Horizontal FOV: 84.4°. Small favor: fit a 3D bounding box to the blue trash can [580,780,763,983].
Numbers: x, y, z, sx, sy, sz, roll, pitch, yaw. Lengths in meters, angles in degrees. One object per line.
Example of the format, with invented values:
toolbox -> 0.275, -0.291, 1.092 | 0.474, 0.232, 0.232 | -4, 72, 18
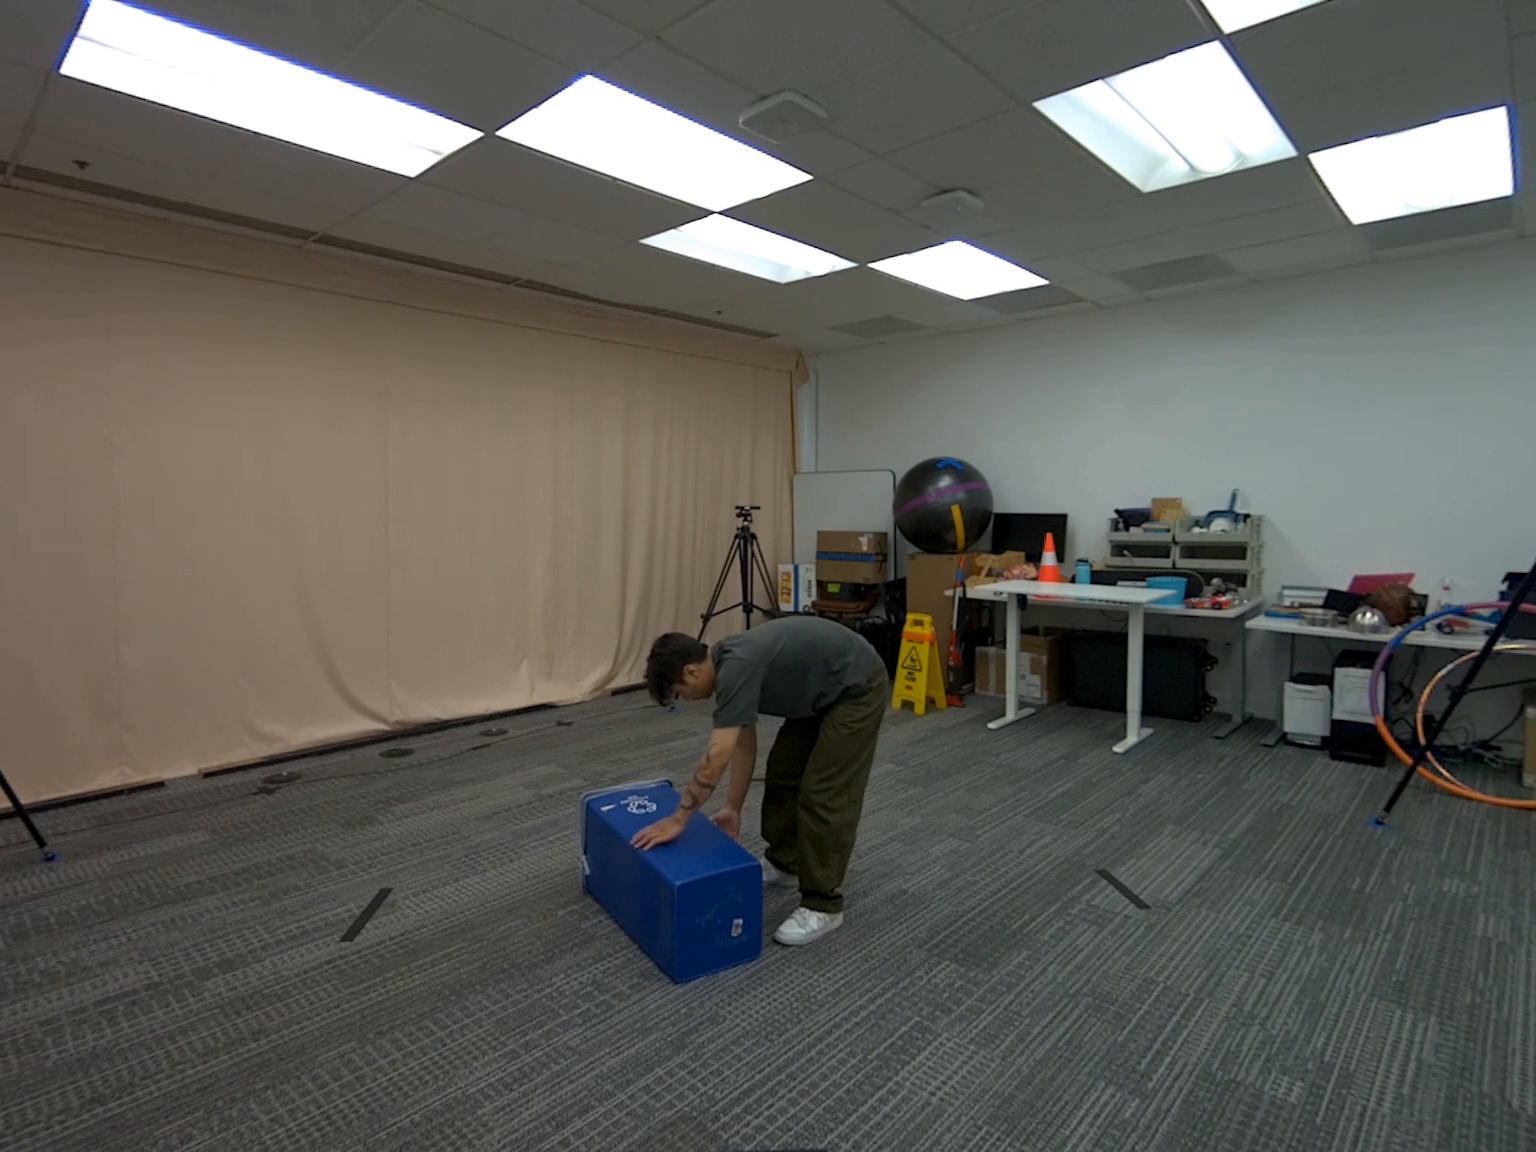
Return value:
blue trash can -> -0.335, 1.000, 2.810 | 0.368, 0.373, 0.735 | -2, 7, -31
